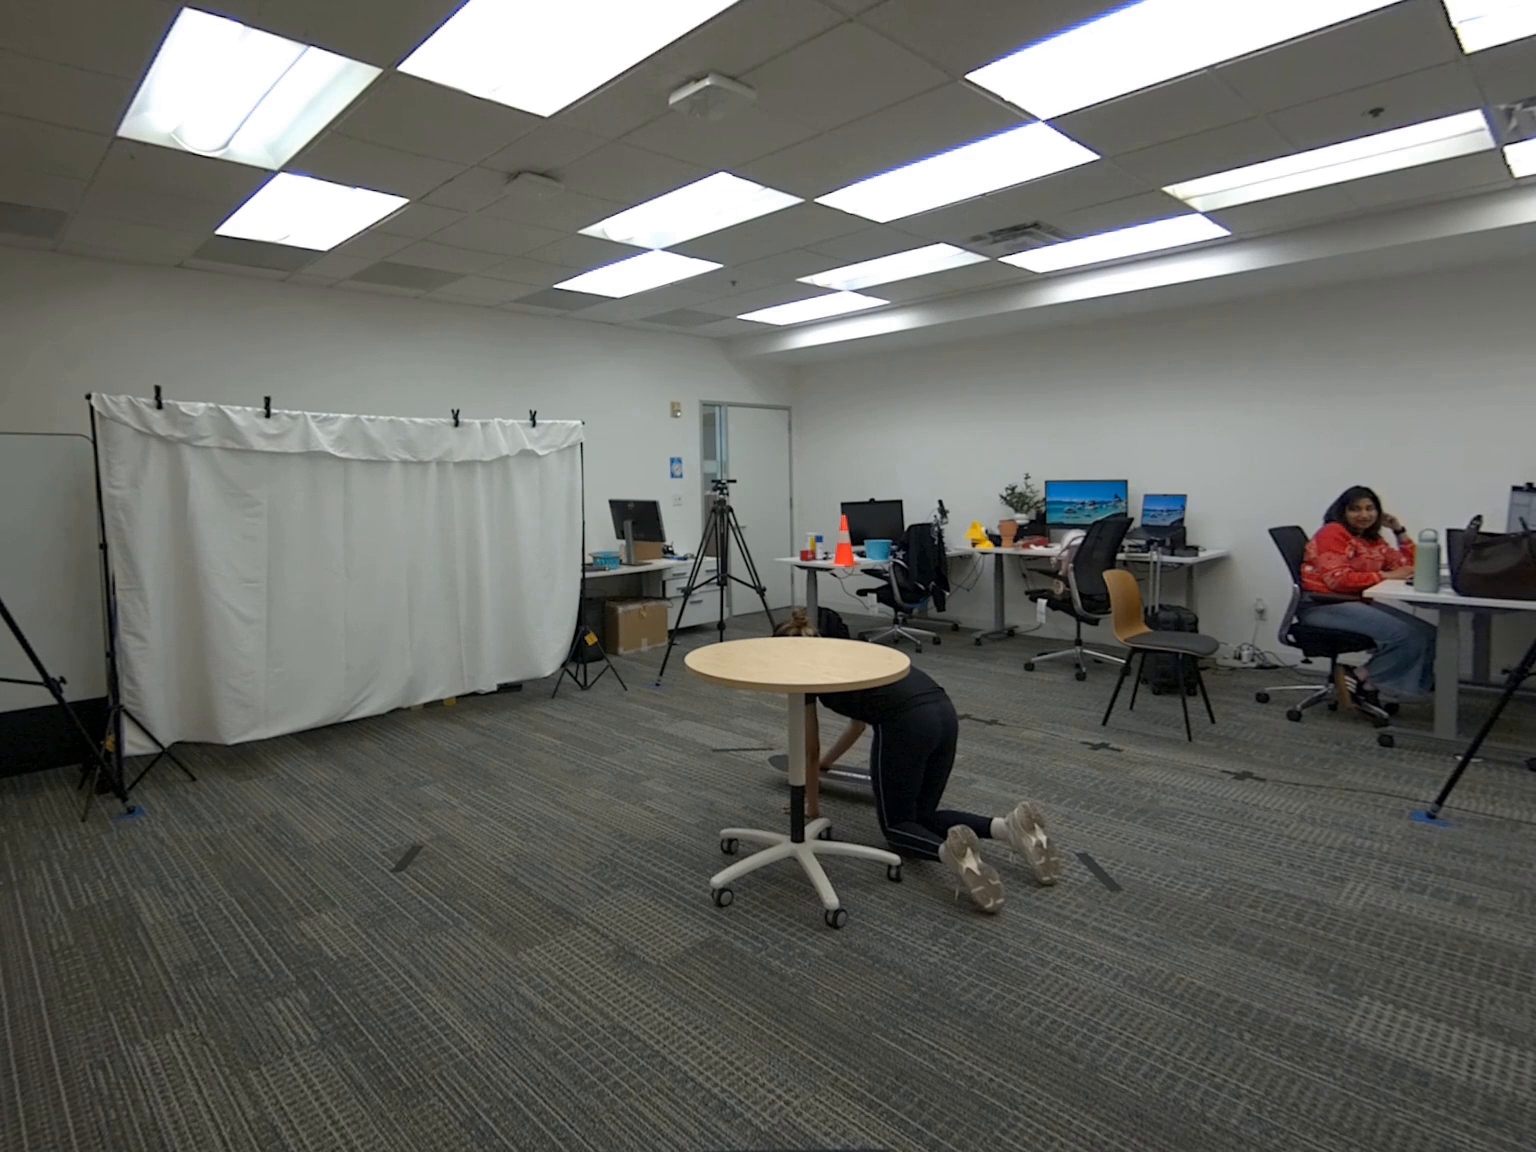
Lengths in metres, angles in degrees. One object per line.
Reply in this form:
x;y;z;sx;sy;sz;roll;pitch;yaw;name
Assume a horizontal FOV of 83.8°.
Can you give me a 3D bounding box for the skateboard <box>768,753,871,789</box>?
0.378;0.913;3.775;0.806;0.110;0.189;3;7;30;skateboard
